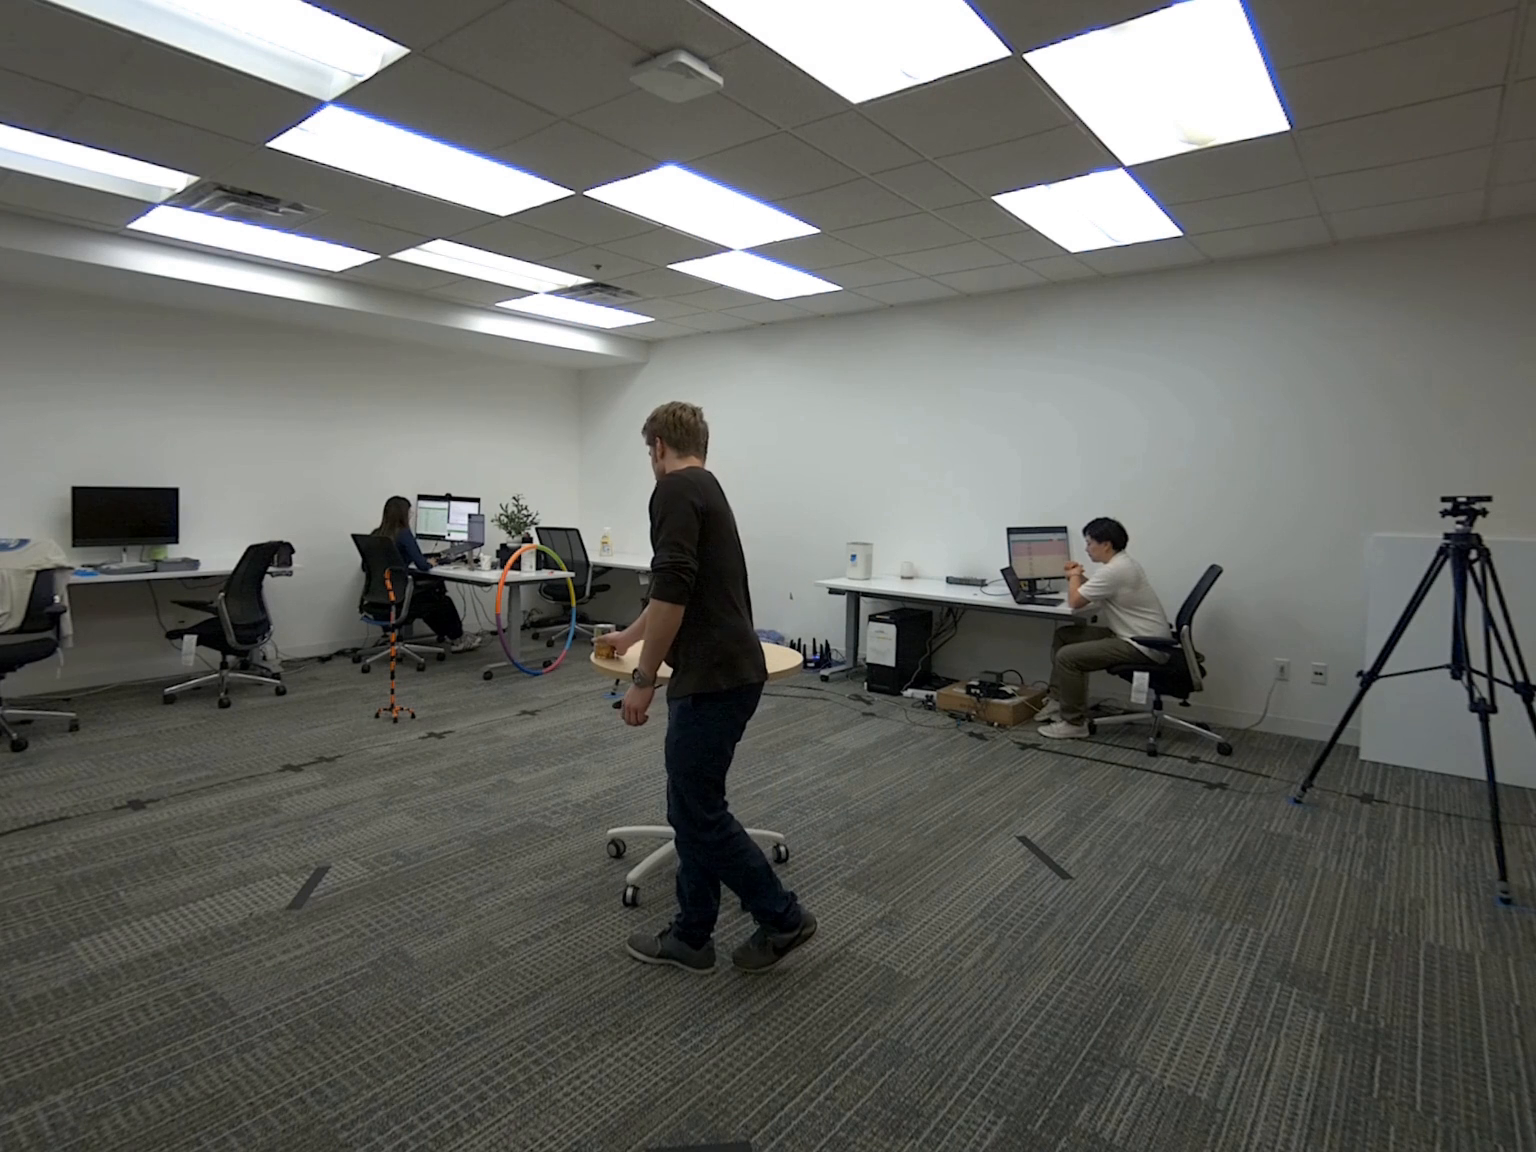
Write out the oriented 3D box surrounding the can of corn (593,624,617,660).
[{"bbox_3d":[-0.596,0.229,3.023,0.074,0.110,0.074,0,4,-2],"label":"can of corn"}]
